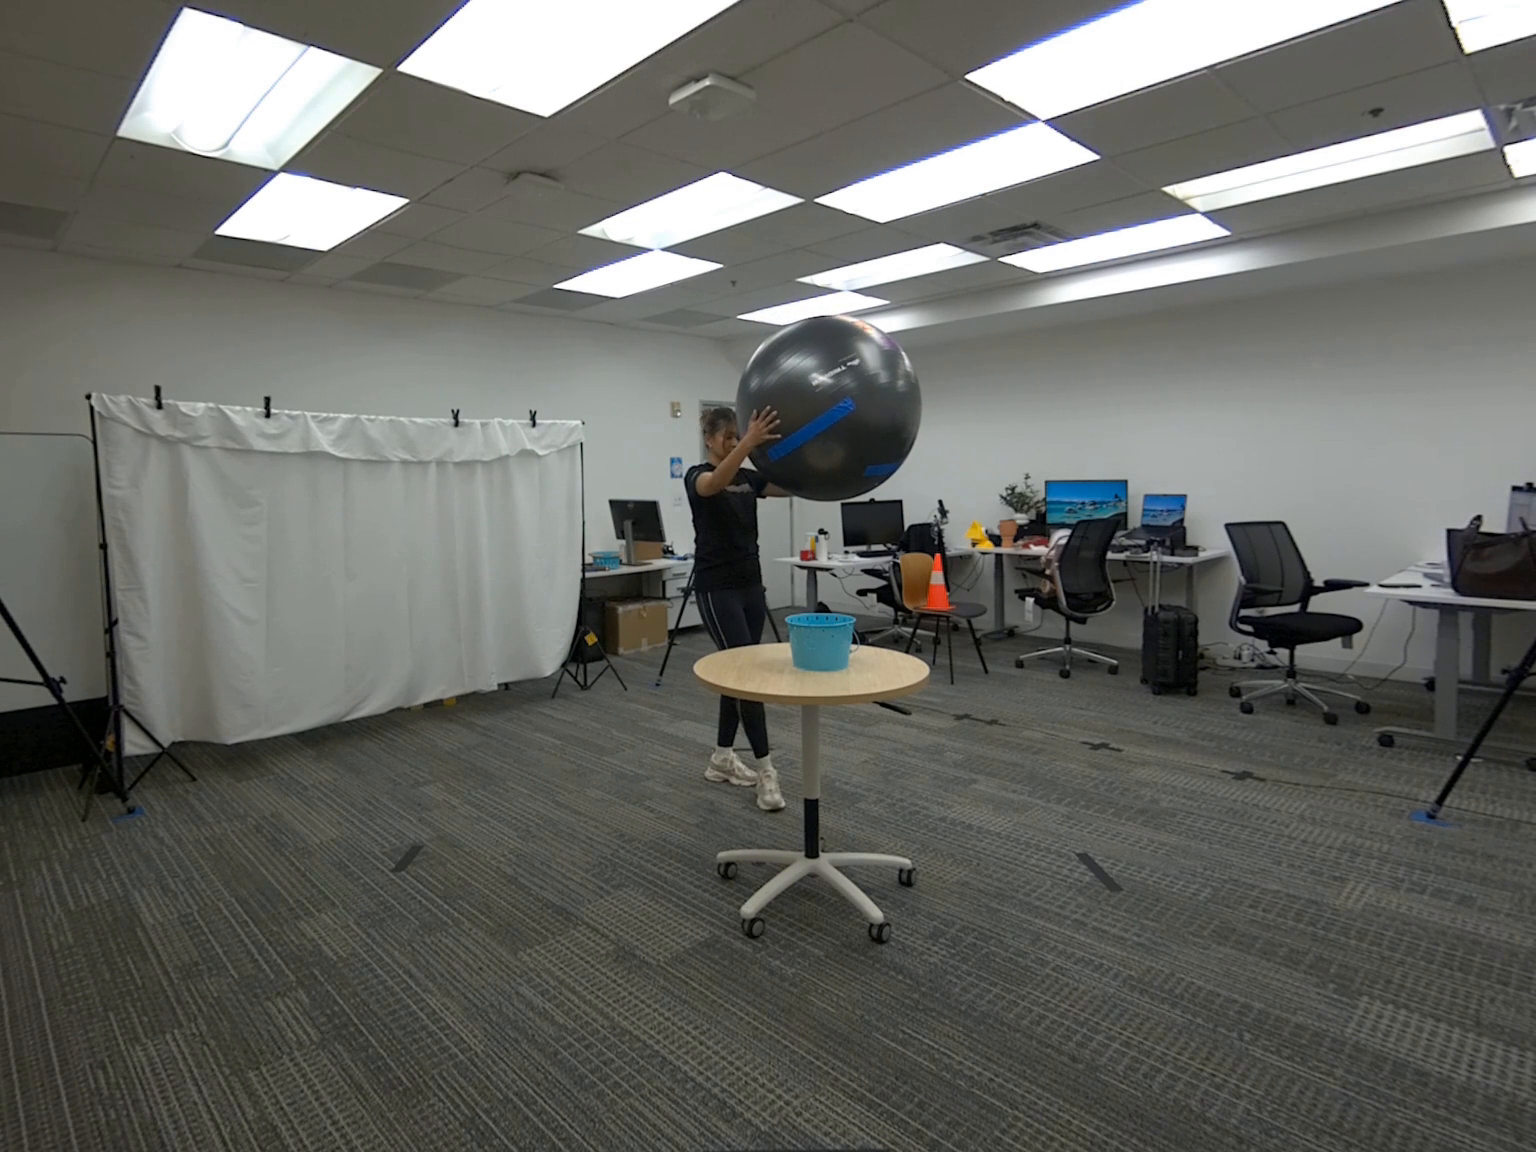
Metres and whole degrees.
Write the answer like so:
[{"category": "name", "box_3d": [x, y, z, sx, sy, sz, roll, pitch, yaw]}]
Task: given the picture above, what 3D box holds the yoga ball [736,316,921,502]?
[{"category": "yoga ball", "box_3d": [0.244, -0.680, 3.493, 0.757, 0.755, 0.762, -1, 5, -2]}]
